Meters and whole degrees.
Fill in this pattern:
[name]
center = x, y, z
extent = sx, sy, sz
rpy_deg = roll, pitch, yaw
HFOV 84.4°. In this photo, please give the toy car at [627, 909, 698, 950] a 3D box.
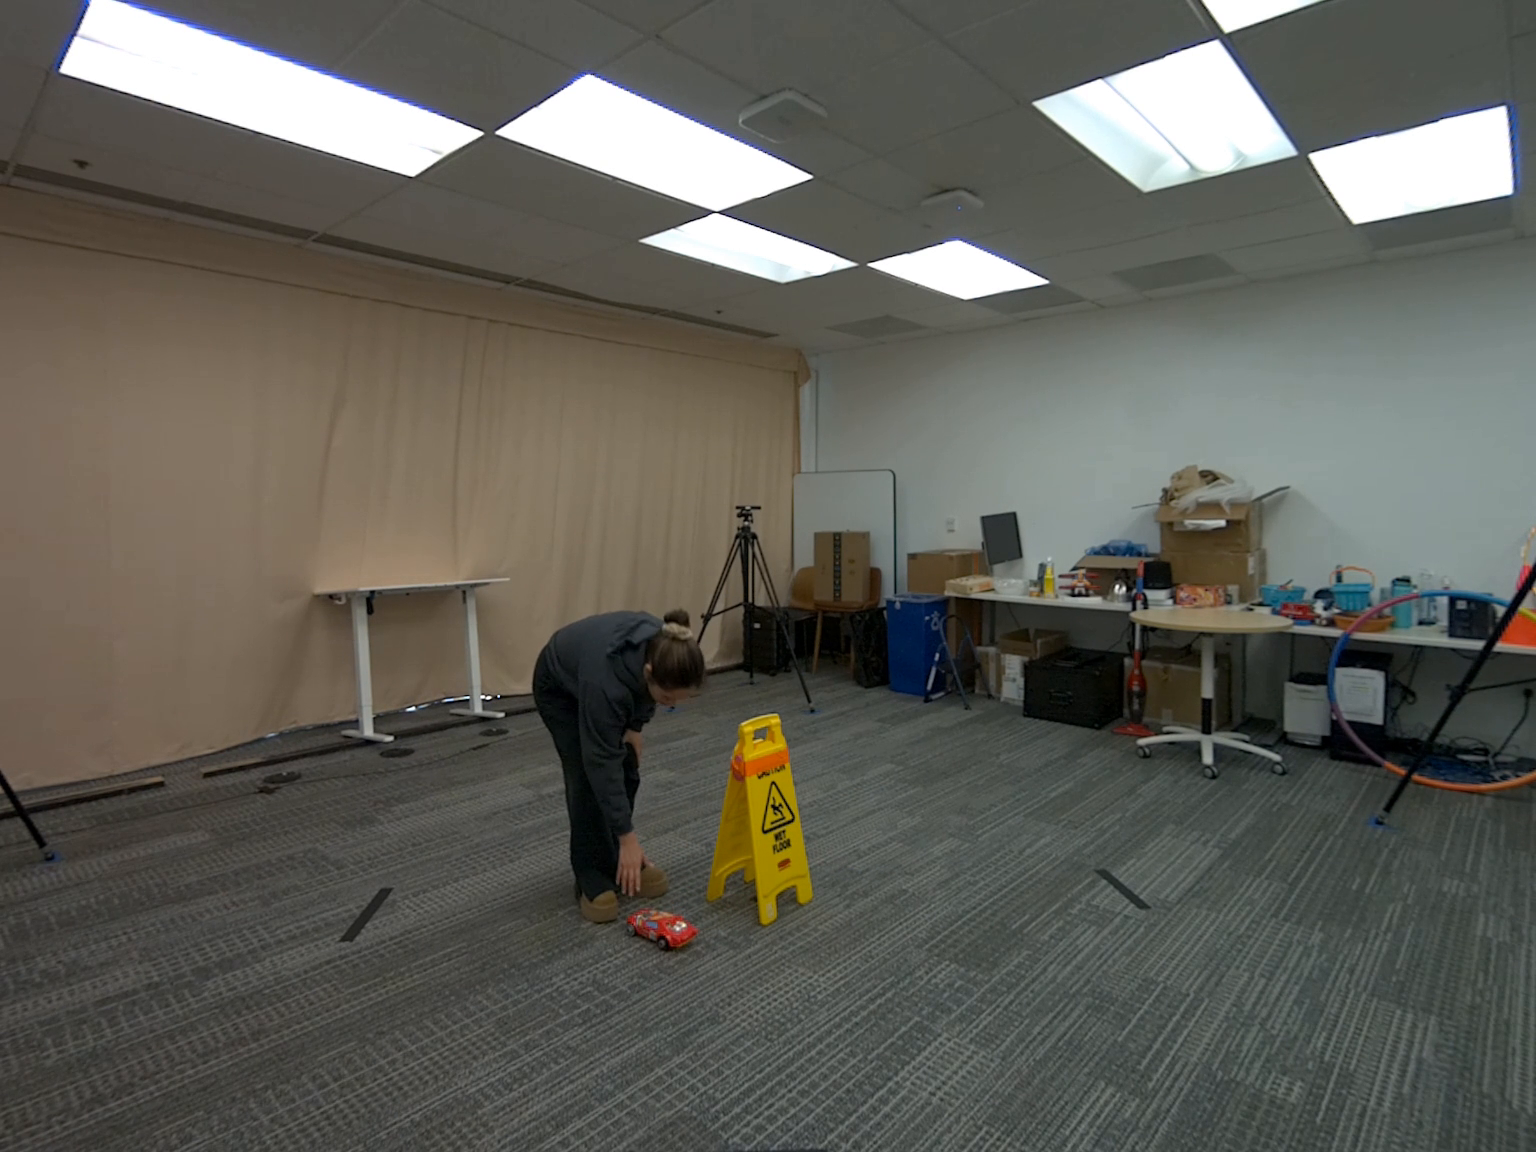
[toy car]
center = -0.318, 1.140, 2.706
extent = 0.261, 0.083, 0.126
rpy_deg = -12, -3, 39
